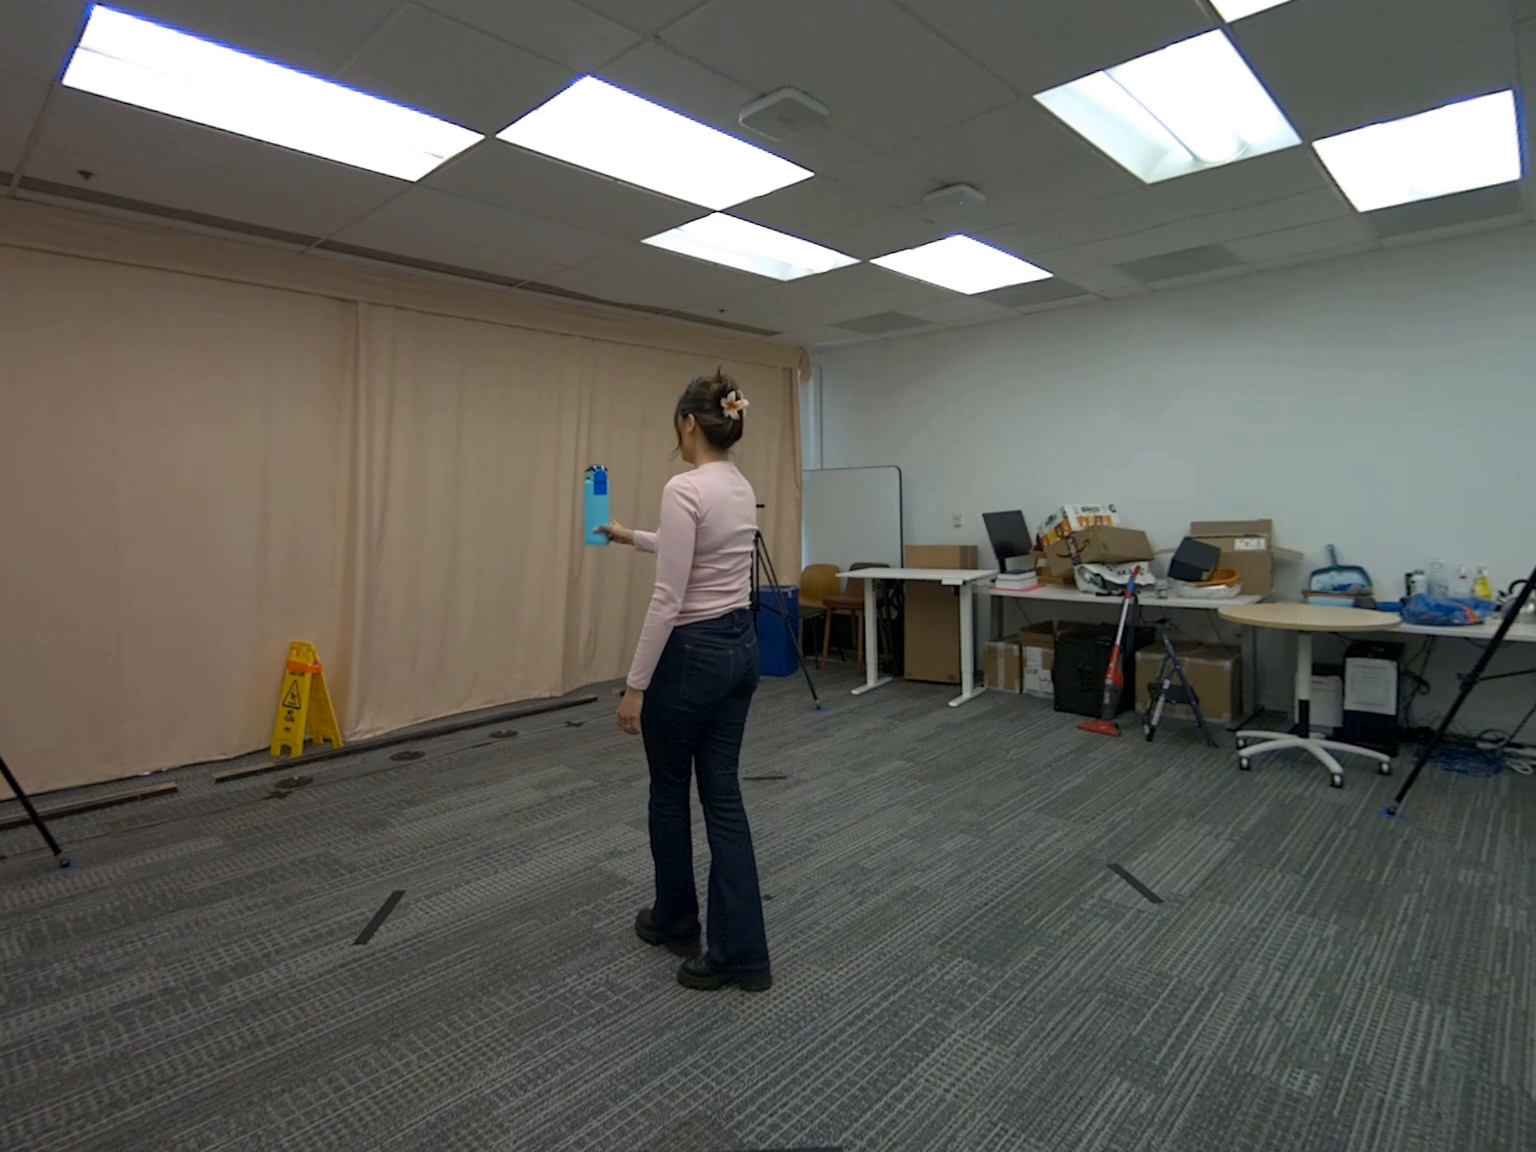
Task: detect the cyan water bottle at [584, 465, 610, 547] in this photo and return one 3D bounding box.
[{"bbox_3d":[-0.592,-0.251,2.920,0.092,0.282,0.093,1,5,-2],"label":"cyan water bottle"}]
